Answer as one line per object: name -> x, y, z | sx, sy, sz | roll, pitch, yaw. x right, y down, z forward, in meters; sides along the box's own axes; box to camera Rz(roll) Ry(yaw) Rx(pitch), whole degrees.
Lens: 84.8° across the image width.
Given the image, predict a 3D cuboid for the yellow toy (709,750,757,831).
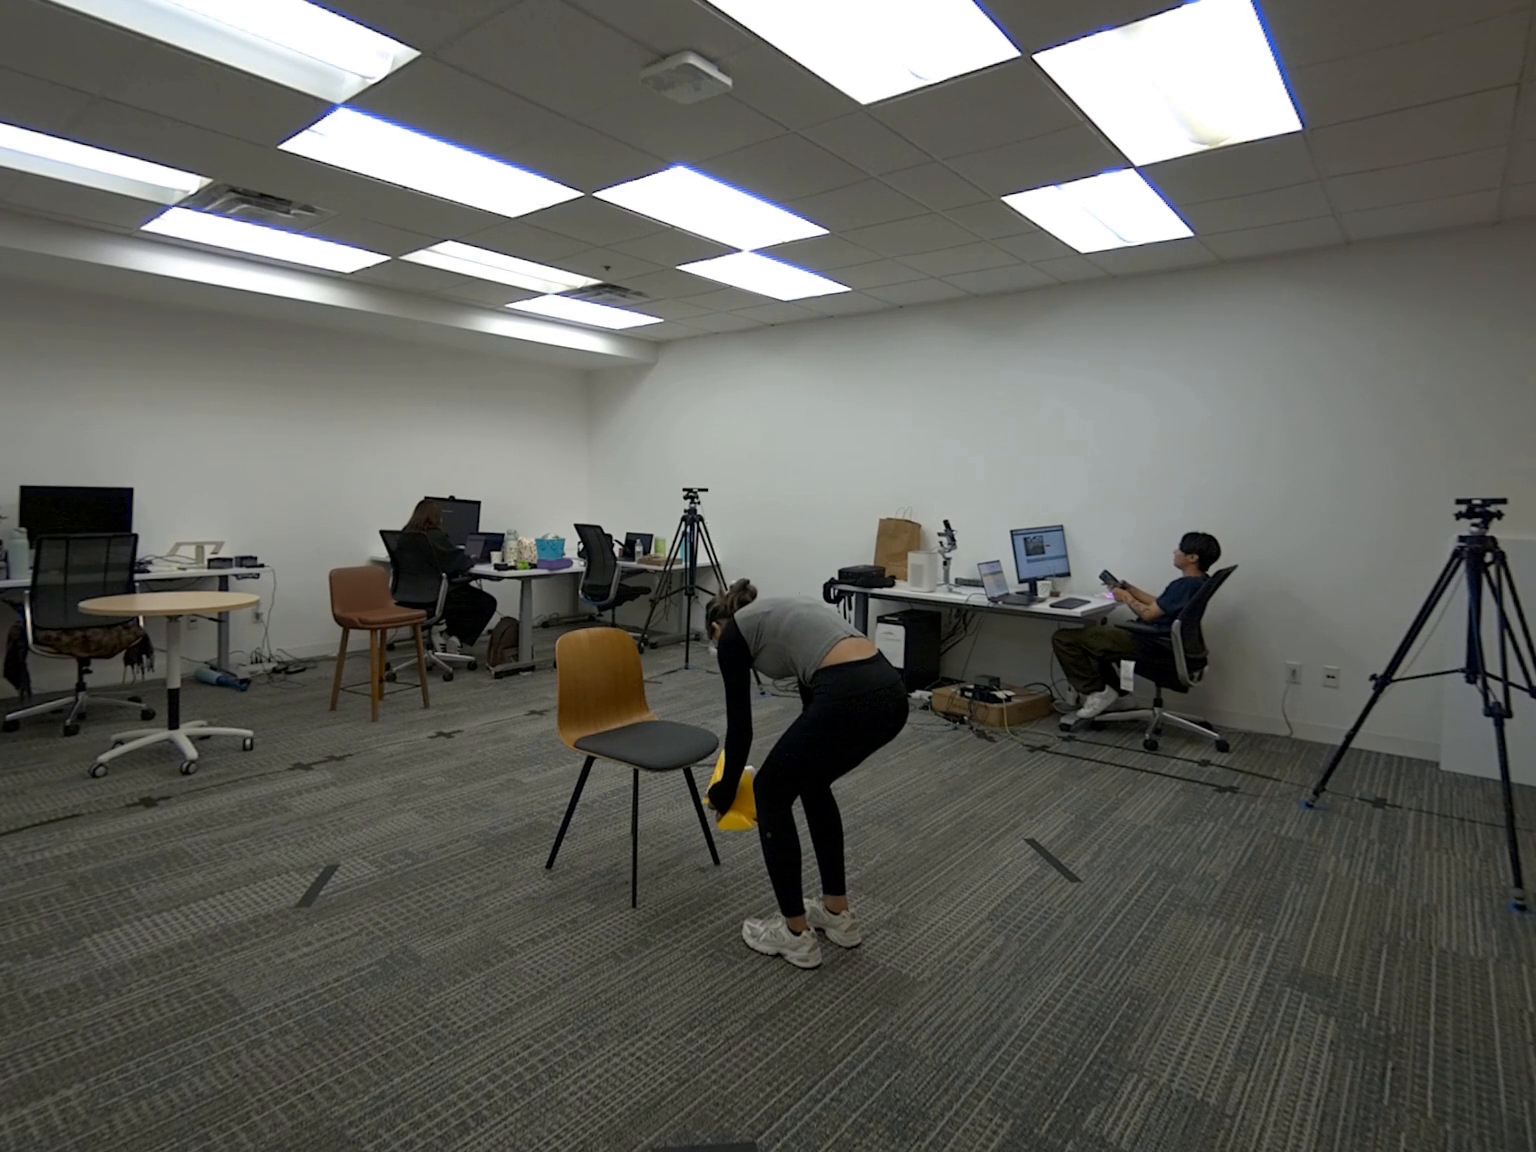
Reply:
yellow toy -> -0.102, 0.687, 2.812 | 0.198, 0.231, 0.199 | -9, -3, 42
